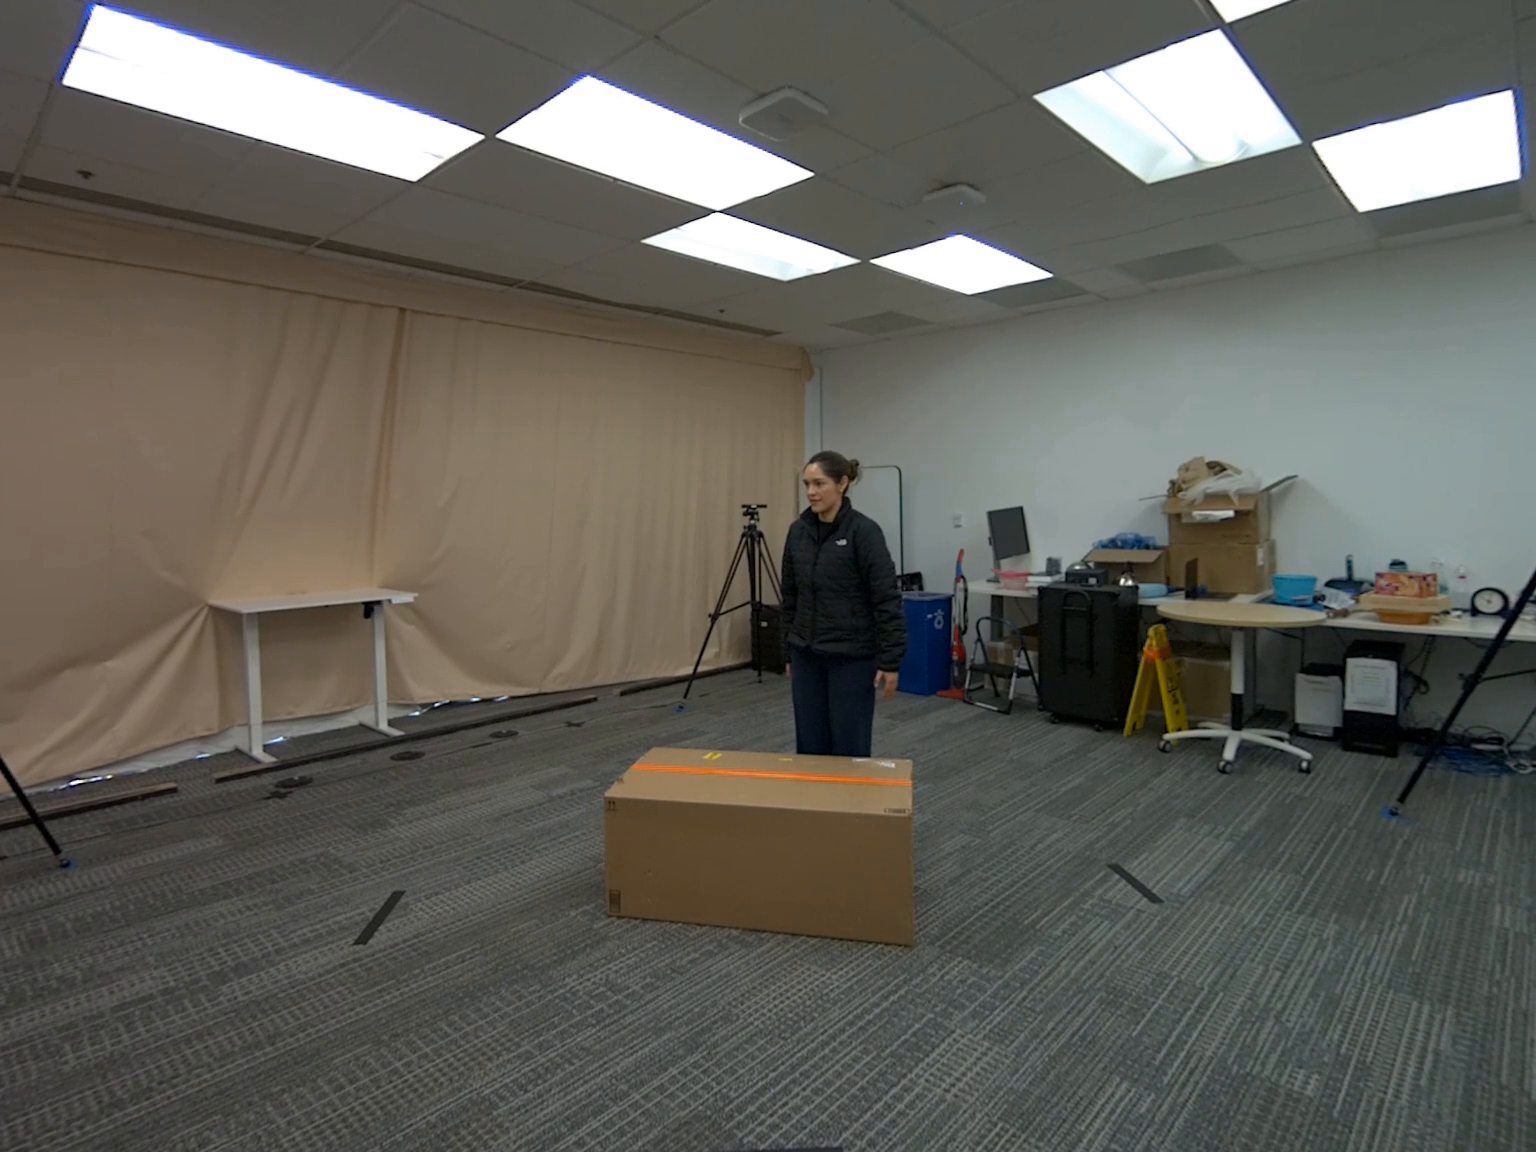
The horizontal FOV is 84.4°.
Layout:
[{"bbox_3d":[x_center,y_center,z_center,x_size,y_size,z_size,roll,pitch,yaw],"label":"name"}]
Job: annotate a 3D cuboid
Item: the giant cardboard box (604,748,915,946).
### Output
[{"bbox_3d":[0.011,0.920,3.013,1.040,0.425,0.571,0,3,12],"label":"giant cardboard box"}]
